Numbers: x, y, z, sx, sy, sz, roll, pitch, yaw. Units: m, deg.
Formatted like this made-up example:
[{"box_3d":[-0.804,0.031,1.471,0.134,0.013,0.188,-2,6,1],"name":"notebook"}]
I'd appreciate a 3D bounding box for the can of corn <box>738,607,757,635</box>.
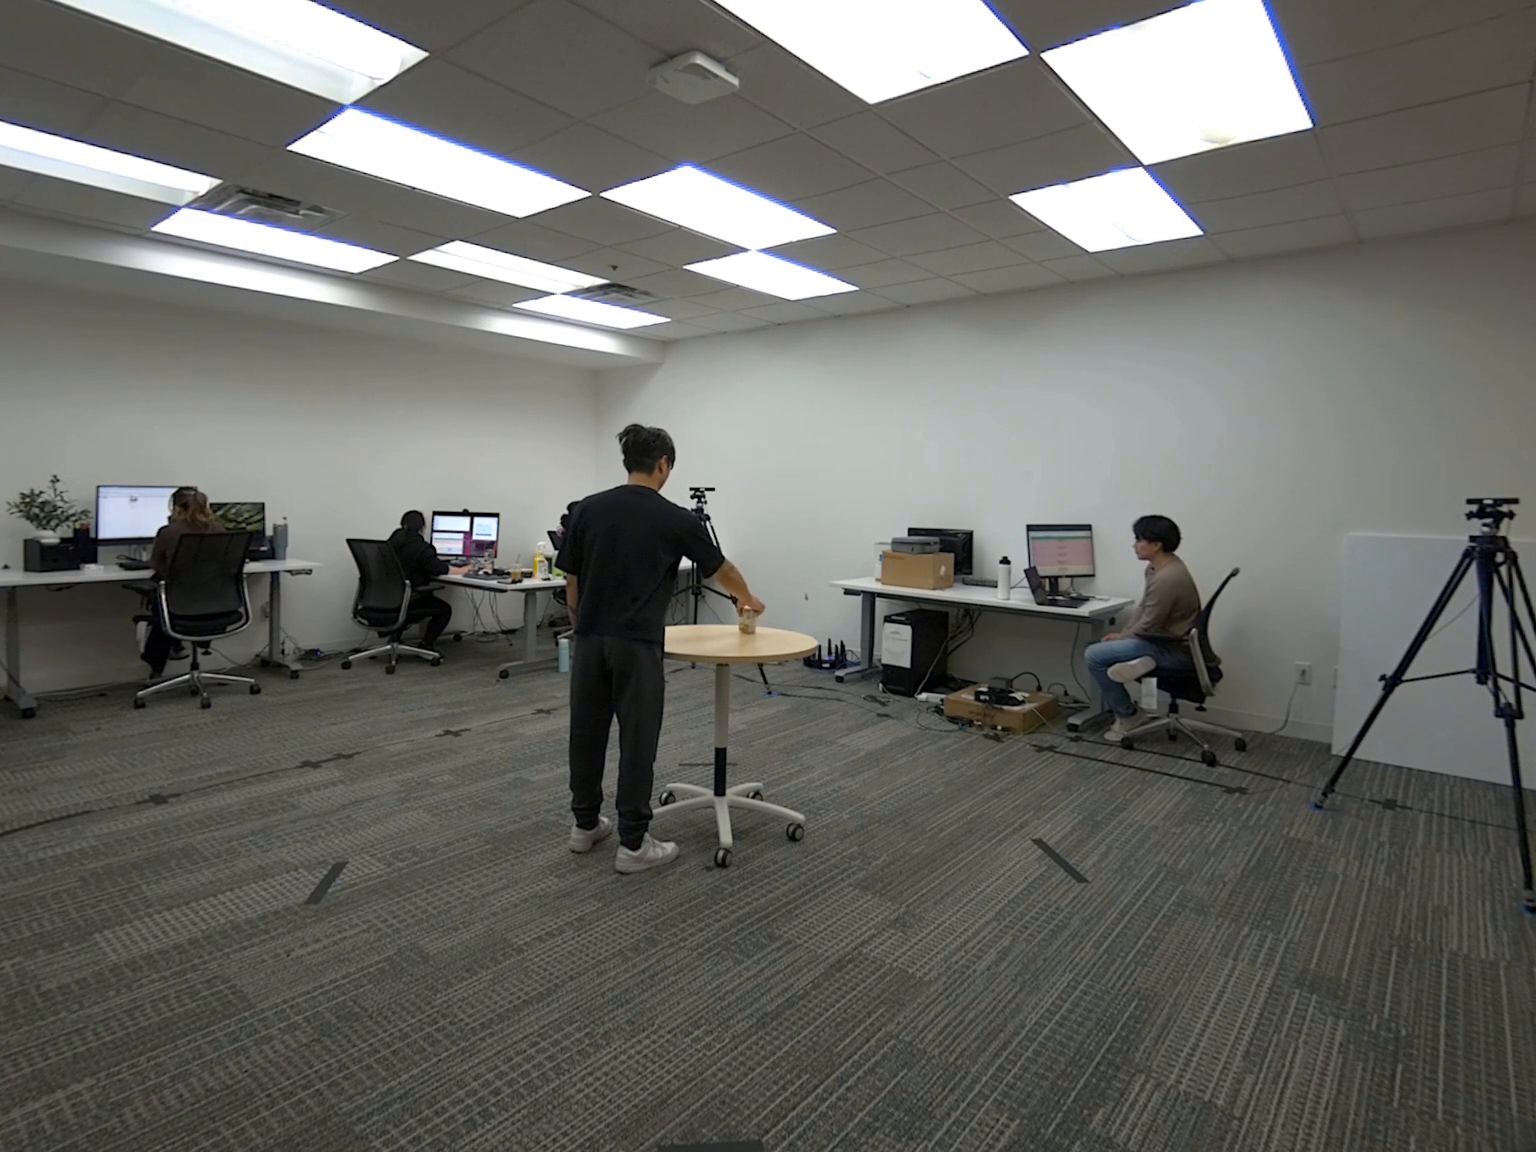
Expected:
[{"box_3d":[-0.095,0.177,3.607,0.074,0.109,0.076,4,20,-3],"name":"can of corn"}]
